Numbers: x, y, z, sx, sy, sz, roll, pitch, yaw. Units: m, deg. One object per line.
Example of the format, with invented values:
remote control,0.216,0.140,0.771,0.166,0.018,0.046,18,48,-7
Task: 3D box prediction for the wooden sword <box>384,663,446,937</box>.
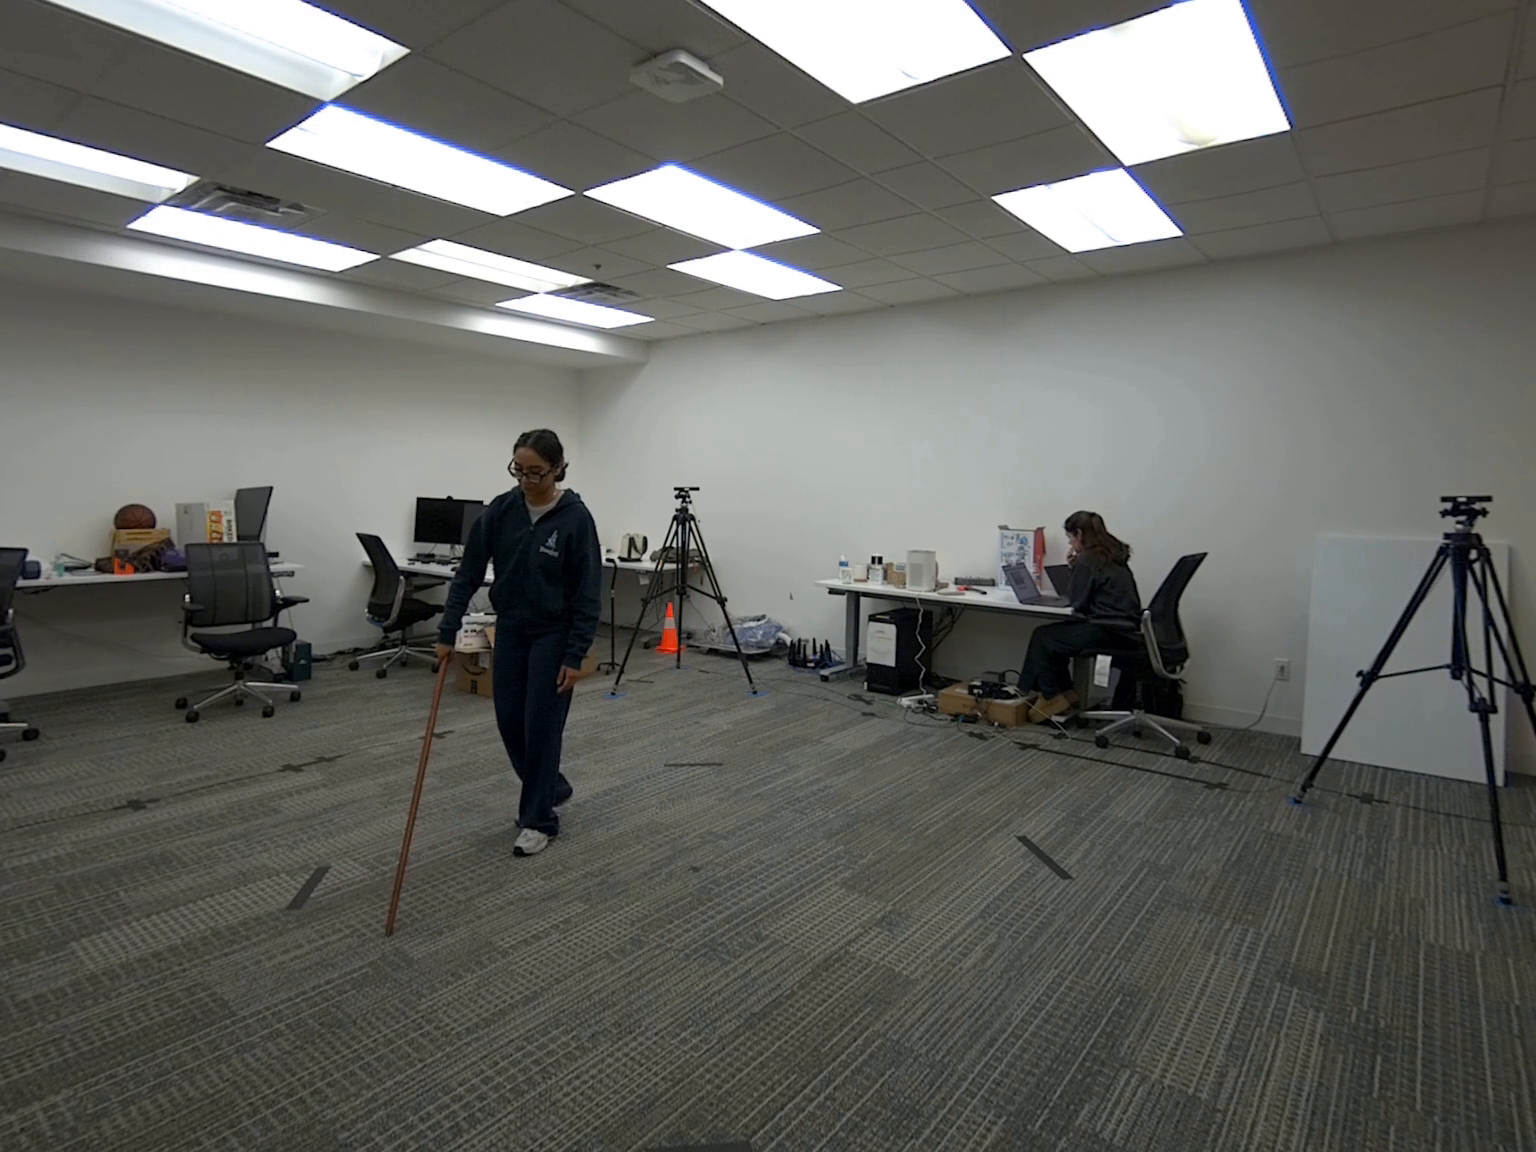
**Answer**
wooden sword,-1.213,0.691,2.936,0.024,1.056,0.050,7,-38,-15
